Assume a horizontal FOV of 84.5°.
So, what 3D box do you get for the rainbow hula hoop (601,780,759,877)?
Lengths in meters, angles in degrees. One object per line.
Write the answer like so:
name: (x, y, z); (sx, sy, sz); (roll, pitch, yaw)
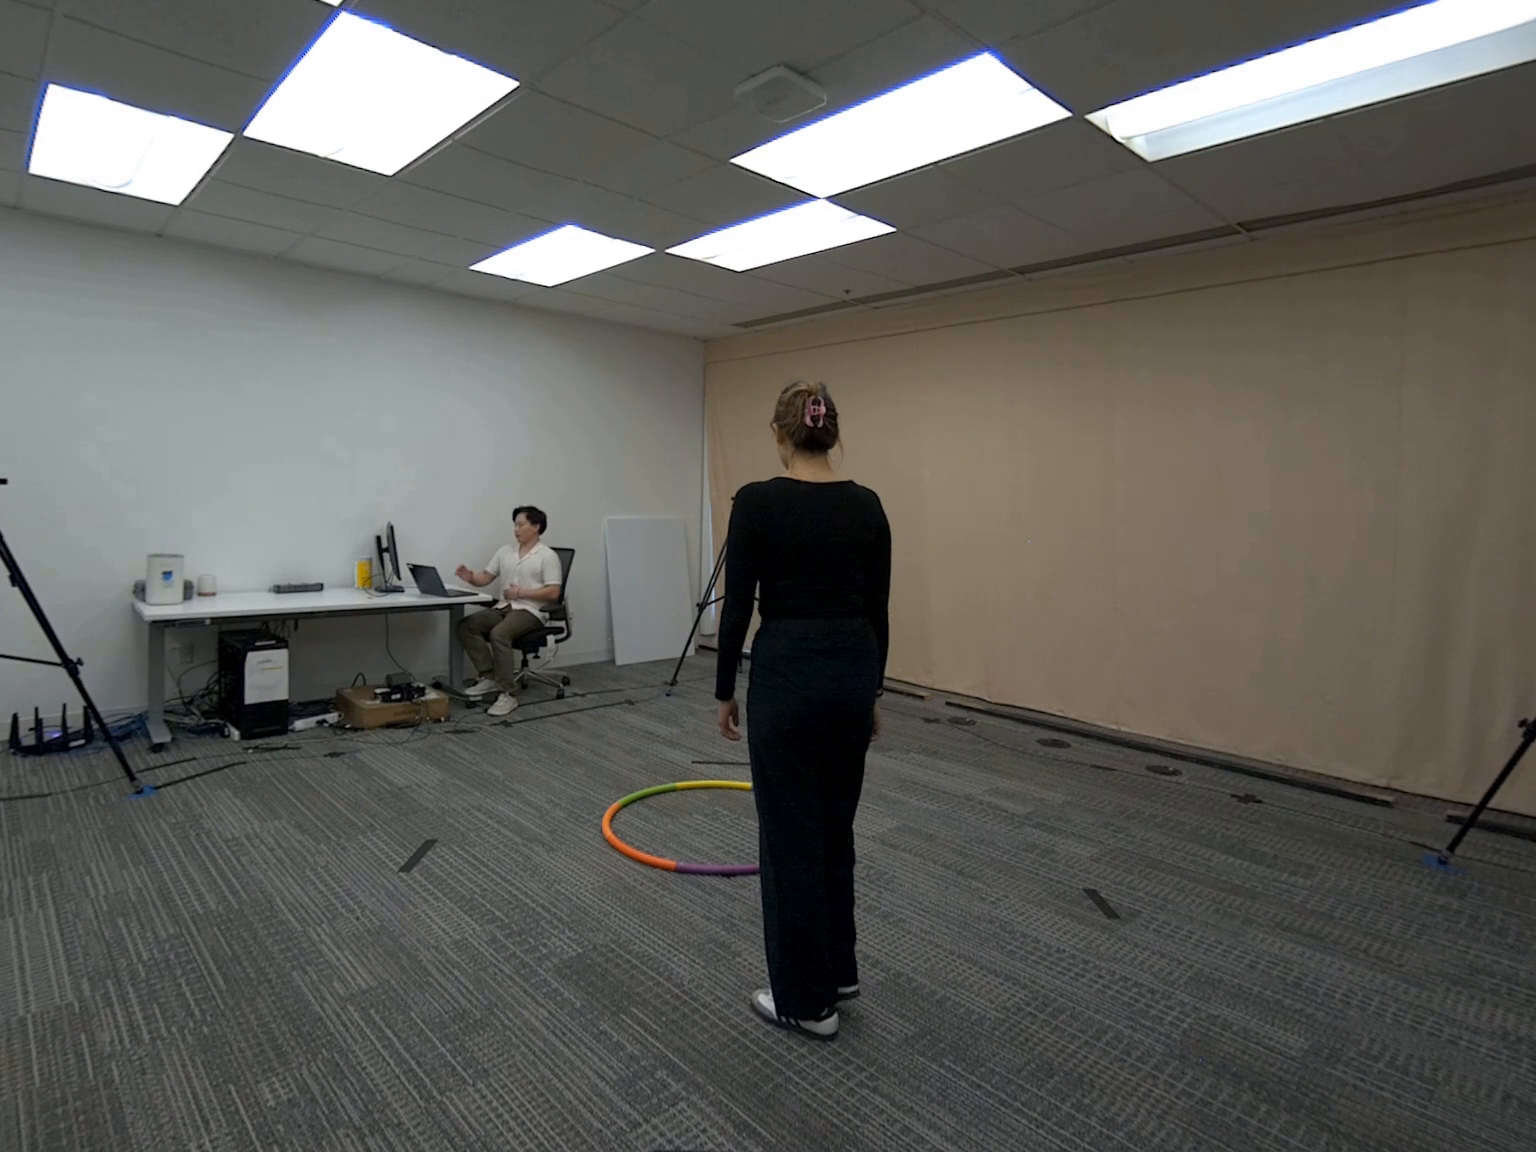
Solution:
rainbow hula hoop: (-0.215, 1.033, 3.583); (0.978, 0.035, 0.982); (2, 5, -1)
